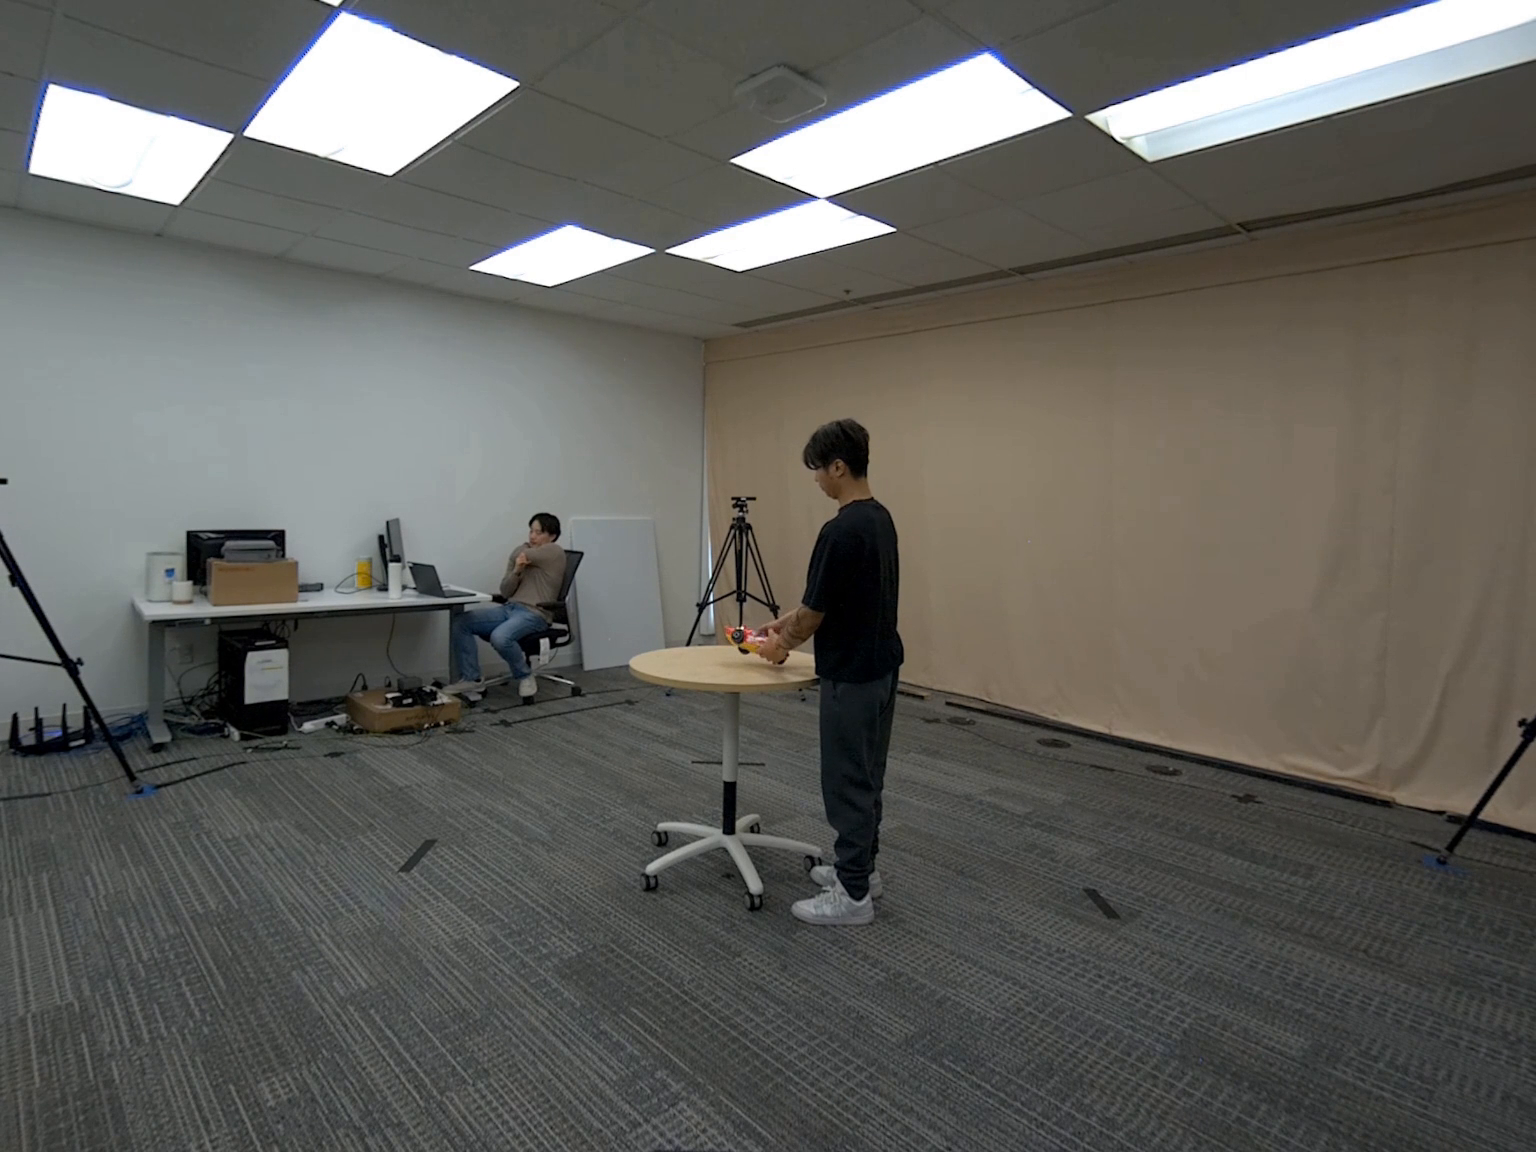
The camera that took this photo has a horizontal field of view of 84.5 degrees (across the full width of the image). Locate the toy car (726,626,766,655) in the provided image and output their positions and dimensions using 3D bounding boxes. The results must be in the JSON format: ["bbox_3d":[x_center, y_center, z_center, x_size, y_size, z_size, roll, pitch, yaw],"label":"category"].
[{"bbox_3d":[-0.049,0.249,3.061,0.261,0.083,0.126,25,-20,31],"label":"toy car"}]
